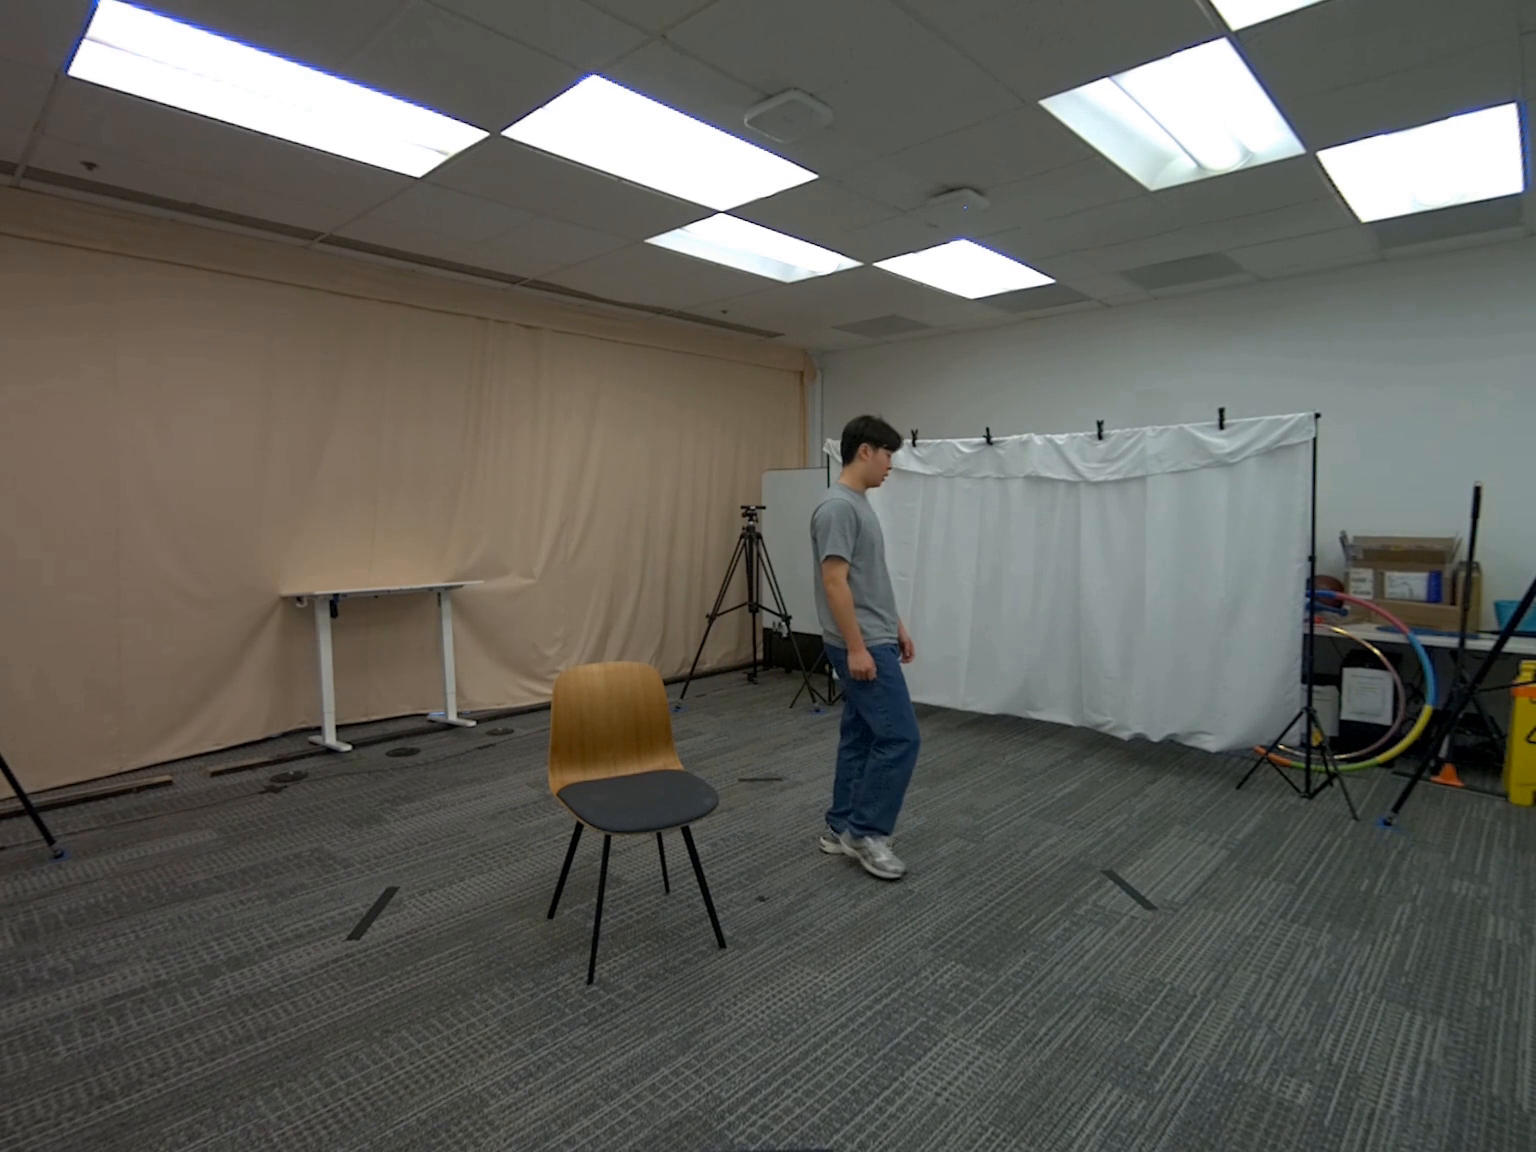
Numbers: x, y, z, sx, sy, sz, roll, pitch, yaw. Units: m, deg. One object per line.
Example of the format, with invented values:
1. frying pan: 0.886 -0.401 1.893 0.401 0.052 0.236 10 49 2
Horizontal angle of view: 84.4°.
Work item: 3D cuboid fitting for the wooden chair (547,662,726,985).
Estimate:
1. wooden chair: -0.436 0.743 2.714 0.466 0.878 0.536 -2 -1 -28
